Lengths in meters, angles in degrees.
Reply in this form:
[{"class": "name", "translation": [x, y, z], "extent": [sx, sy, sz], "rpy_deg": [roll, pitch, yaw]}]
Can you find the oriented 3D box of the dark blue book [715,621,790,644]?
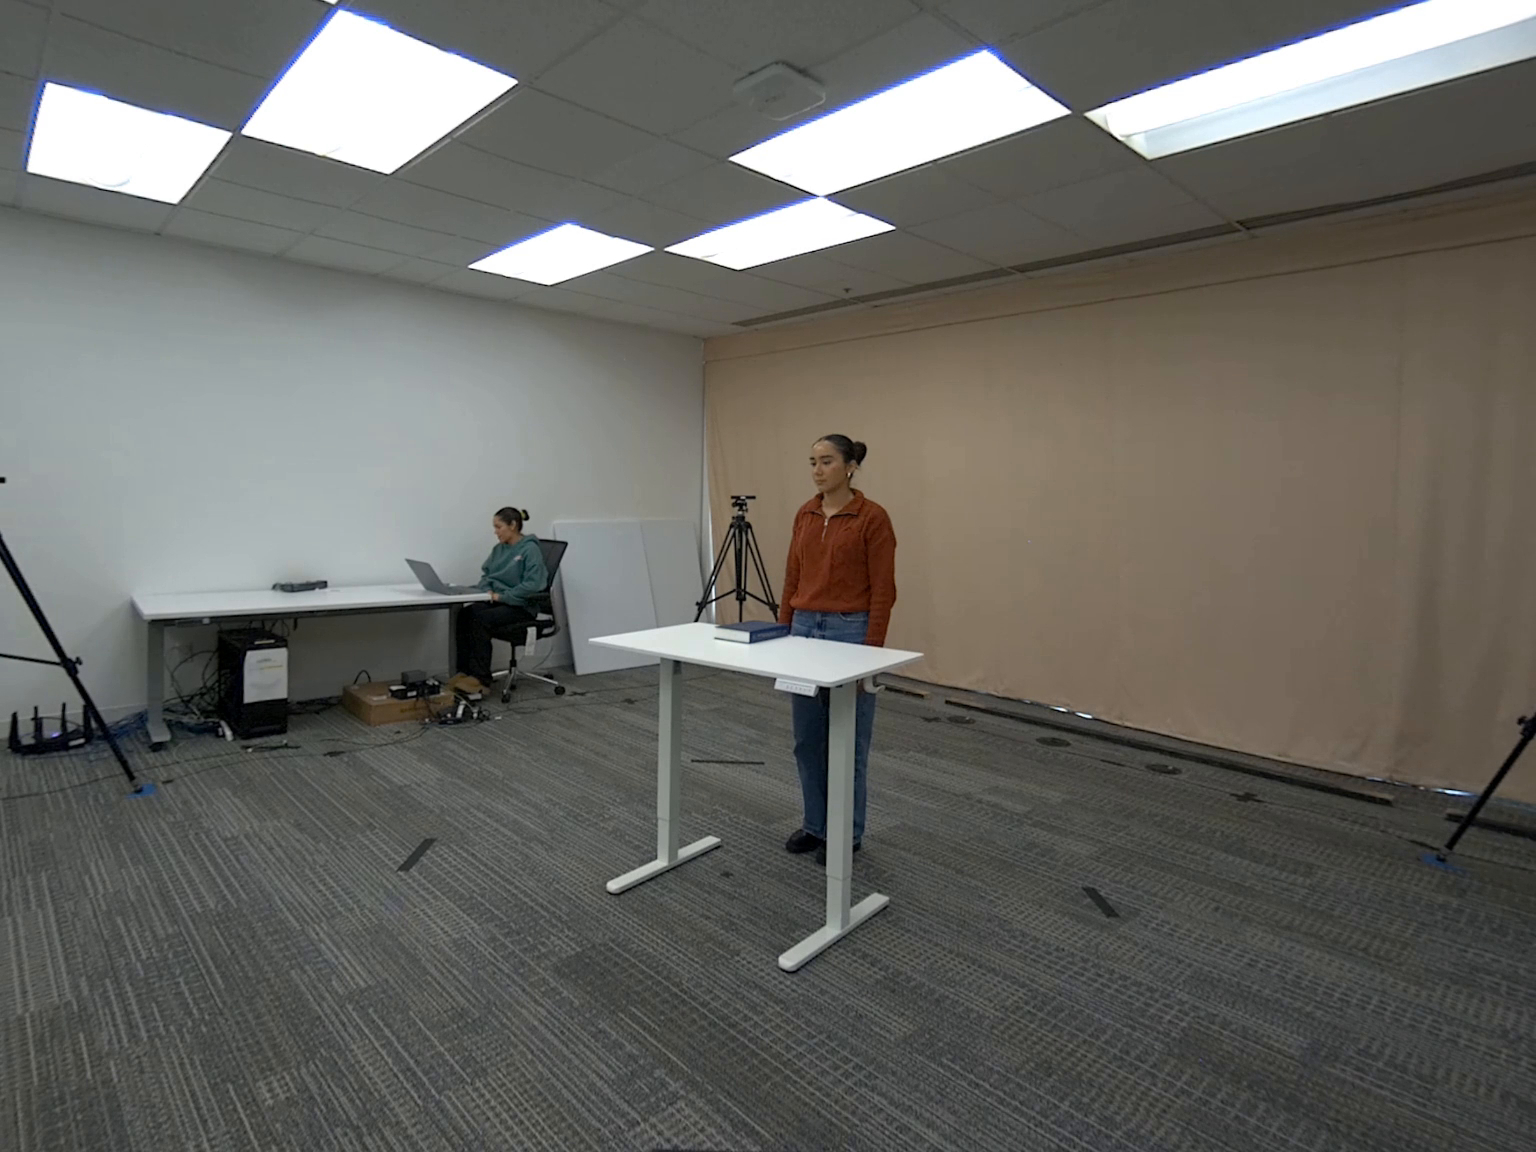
[{"class": "dark blue book", "translation": [-0.067, 0.205, 3.083], "extent": [0.167, 0.045, 0.240], "rpy_deg": [5, 6, 35]}]
